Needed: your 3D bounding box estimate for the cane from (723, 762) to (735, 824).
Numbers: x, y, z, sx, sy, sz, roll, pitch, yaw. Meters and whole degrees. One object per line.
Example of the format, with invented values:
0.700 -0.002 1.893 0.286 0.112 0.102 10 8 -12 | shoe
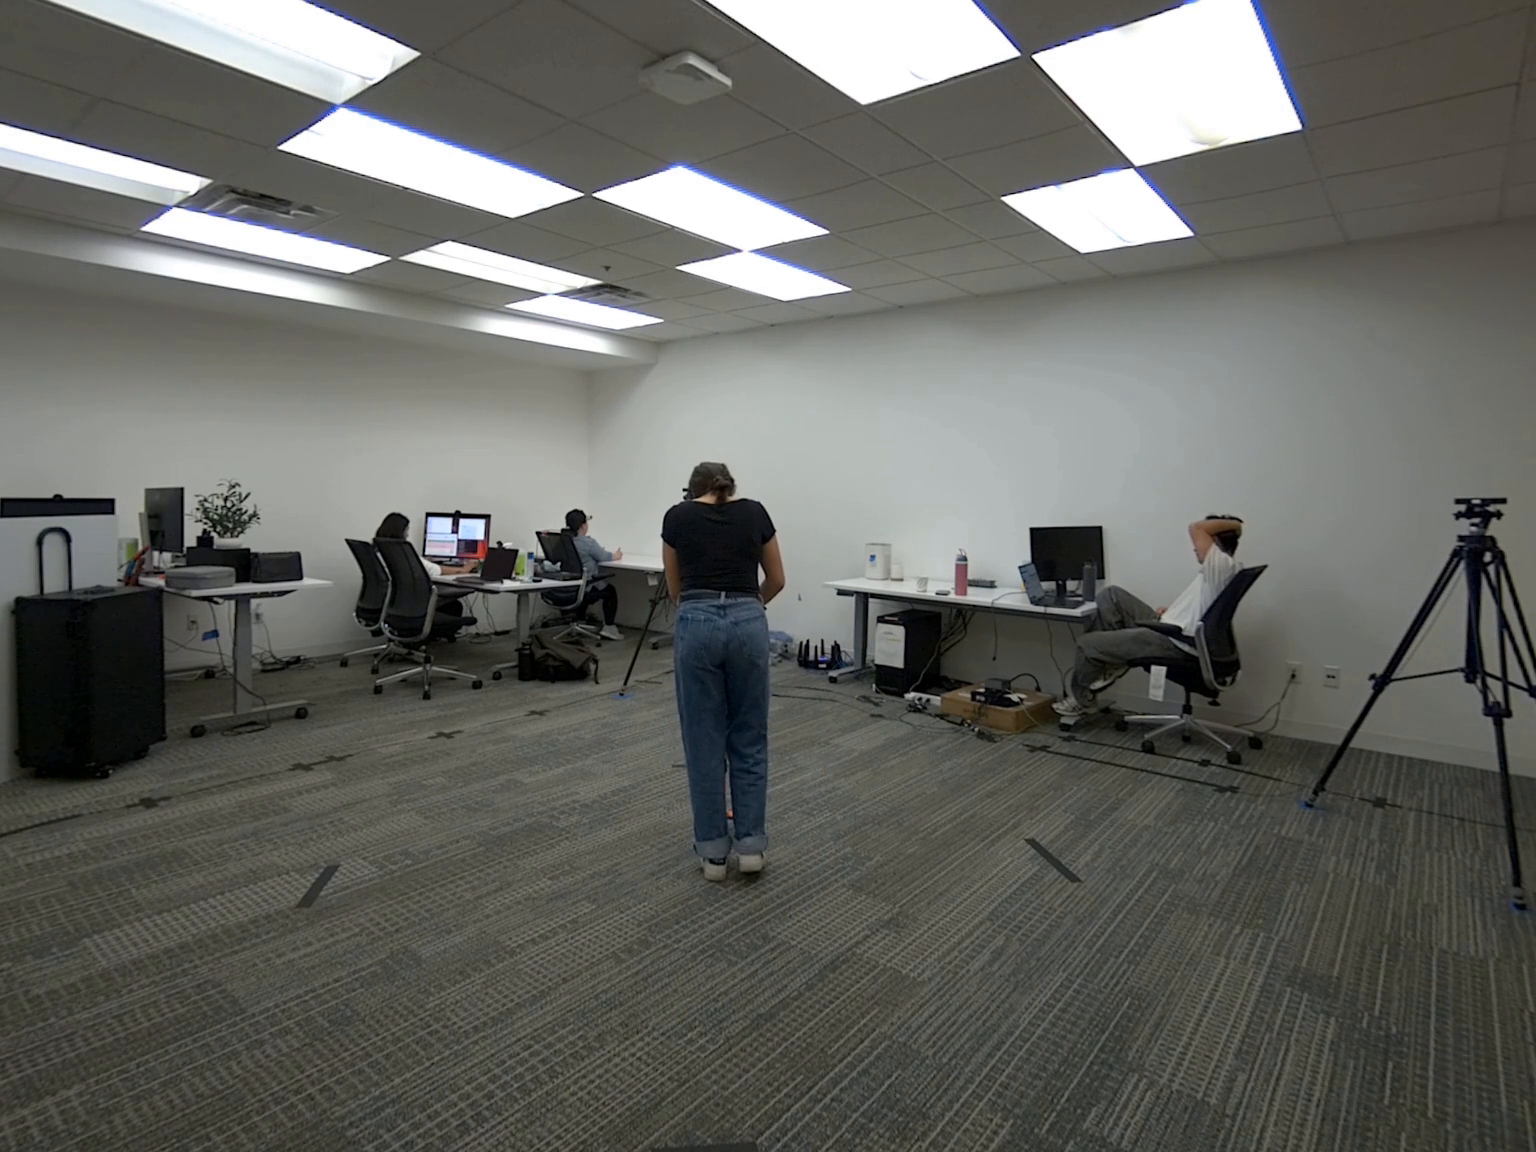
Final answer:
-0.172 0.567 3.488 0.205 0.906 0.152 0 2 -5 | cane
